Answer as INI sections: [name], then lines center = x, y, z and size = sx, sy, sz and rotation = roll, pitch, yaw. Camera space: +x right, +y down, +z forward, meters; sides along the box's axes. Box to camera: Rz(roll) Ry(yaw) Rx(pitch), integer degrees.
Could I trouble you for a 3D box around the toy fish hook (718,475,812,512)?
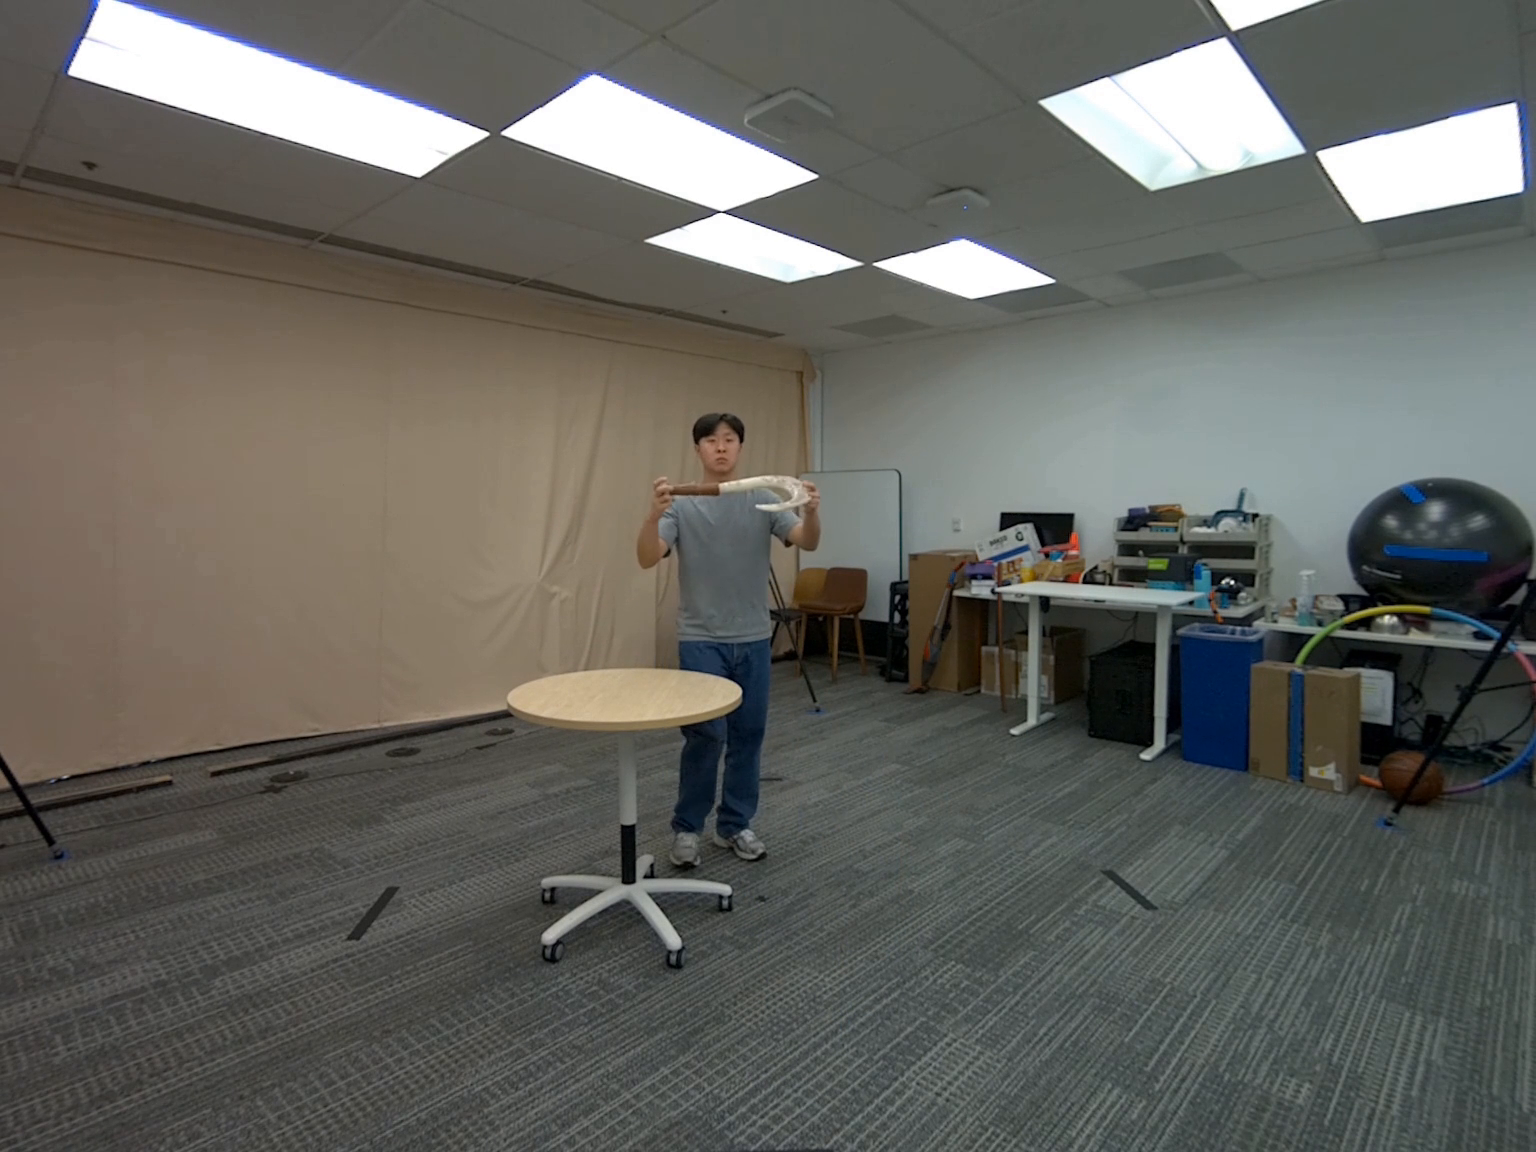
[toy fish hook]
center = -0.116, -0.274, 2.887
size = 0.505, 0.047, 0.229
rotation = -2, 30, -3
